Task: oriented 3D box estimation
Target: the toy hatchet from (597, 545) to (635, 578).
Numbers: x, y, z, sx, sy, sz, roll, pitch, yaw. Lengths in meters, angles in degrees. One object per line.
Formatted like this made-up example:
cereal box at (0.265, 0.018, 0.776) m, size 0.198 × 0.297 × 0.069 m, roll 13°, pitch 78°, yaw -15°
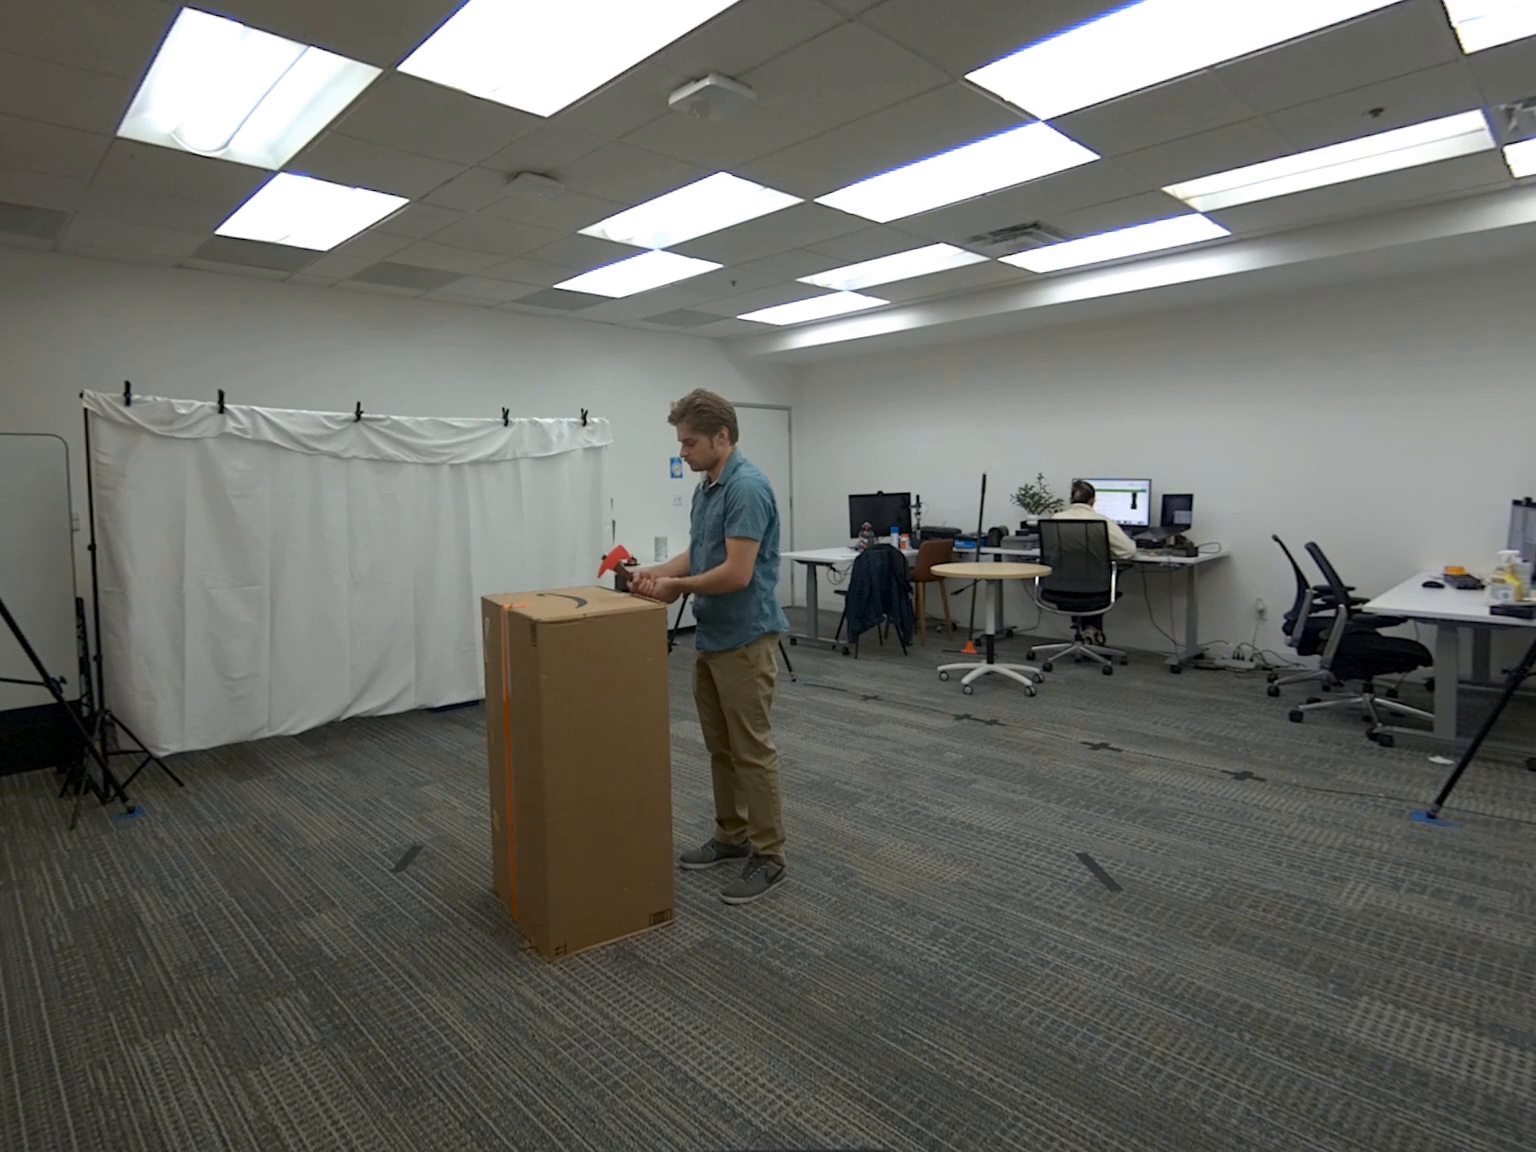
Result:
toy hatchet at (-0.443, -0.026, 2.914) m, size 0.265 × 0.131 × 0.030 m, roll 15°, pitch -2°, yaw -17°
